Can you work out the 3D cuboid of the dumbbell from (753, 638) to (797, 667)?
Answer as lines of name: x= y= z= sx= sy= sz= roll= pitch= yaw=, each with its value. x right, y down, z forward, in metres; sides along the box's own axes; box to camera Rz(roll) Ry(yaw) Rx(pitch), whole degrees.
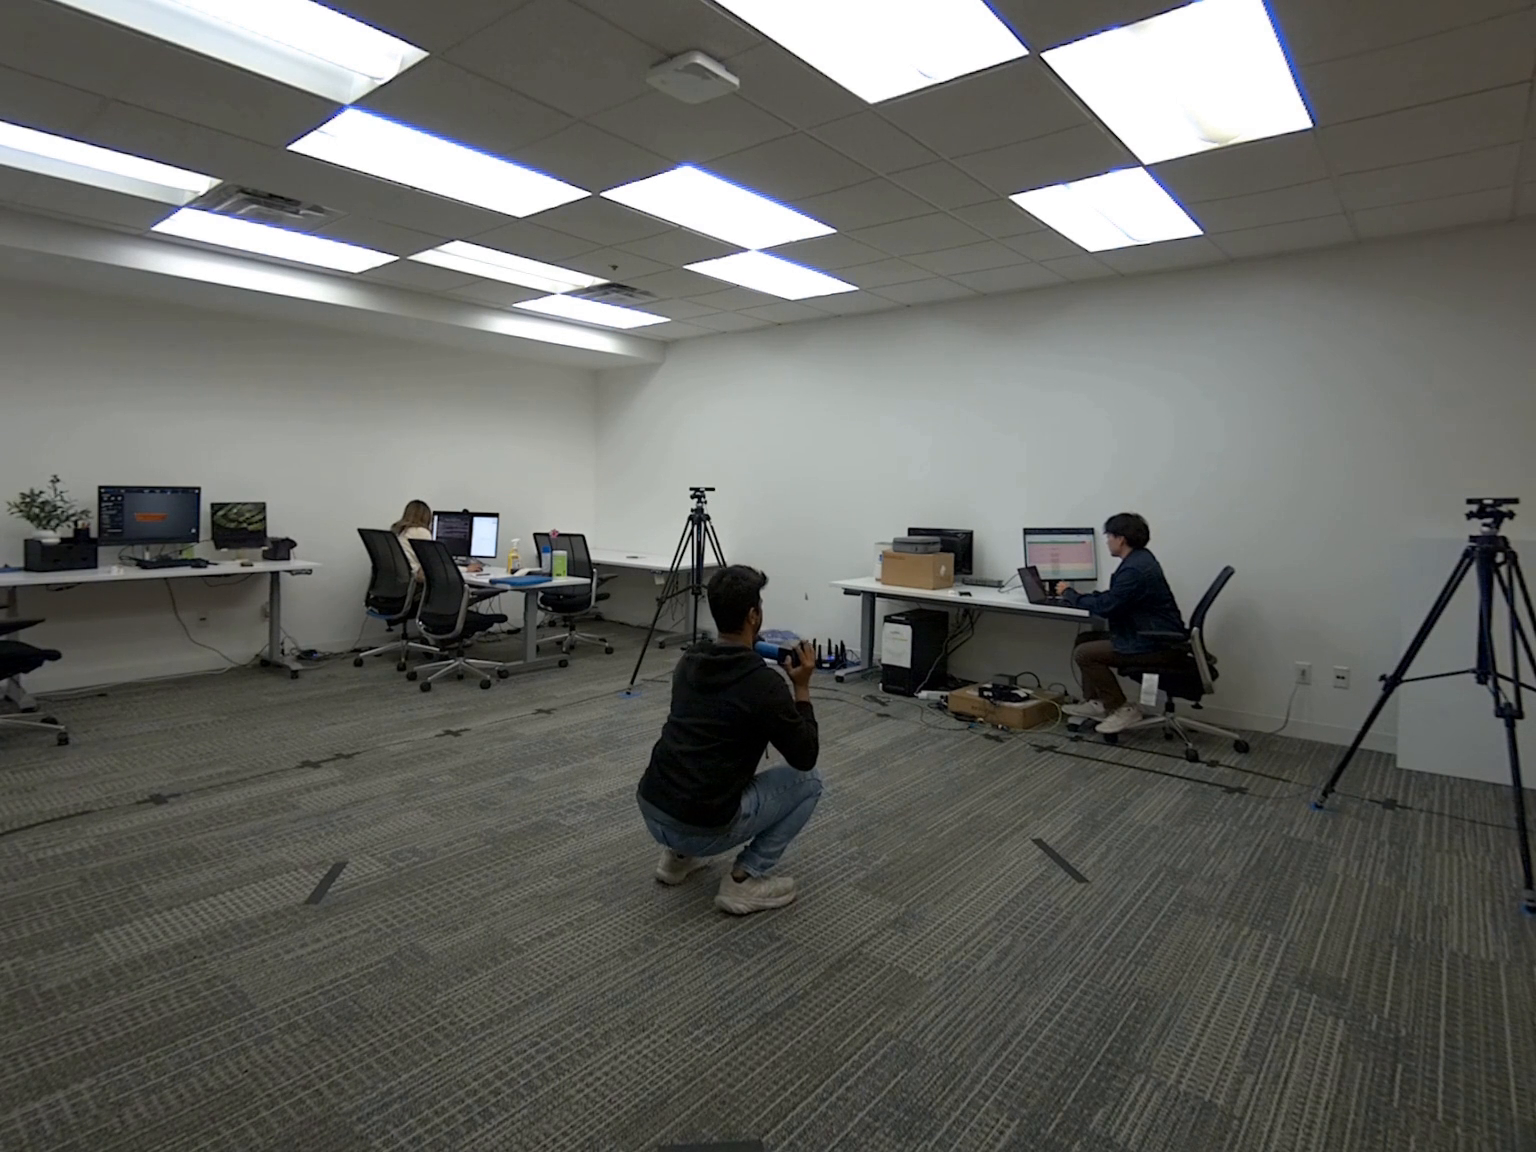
dumbbell: x=0.000 y=0.259 z=3.119 sx=0.303 sy=0.123 sz=0.105 roll=4 pitch=3 yaw=39
